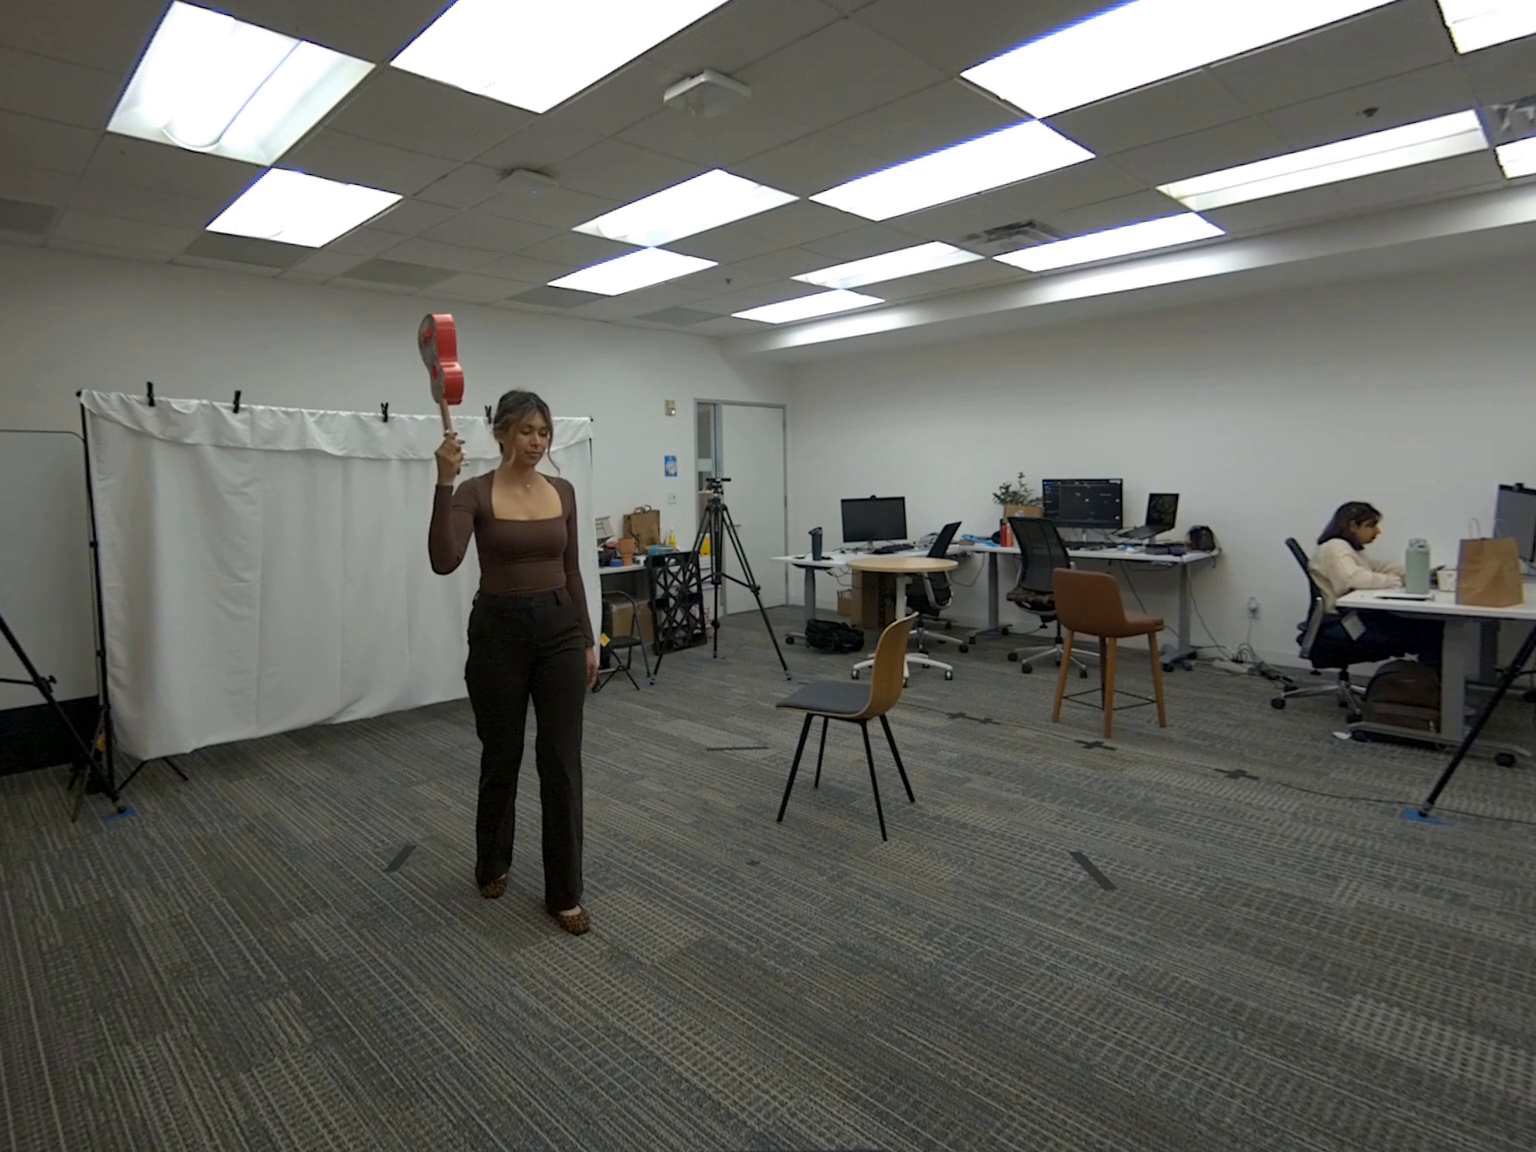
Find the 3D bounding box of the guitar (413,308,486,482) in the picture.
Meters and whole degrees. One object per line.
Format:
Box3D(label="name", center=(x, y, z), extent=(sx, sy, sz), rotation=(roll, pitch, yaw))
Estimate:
Box3D(label="guitar", center=(-0.982, -0.548, 2.629), extent=(0.069, 0.497, 0.197), rotation=(-11, 1, -36))
